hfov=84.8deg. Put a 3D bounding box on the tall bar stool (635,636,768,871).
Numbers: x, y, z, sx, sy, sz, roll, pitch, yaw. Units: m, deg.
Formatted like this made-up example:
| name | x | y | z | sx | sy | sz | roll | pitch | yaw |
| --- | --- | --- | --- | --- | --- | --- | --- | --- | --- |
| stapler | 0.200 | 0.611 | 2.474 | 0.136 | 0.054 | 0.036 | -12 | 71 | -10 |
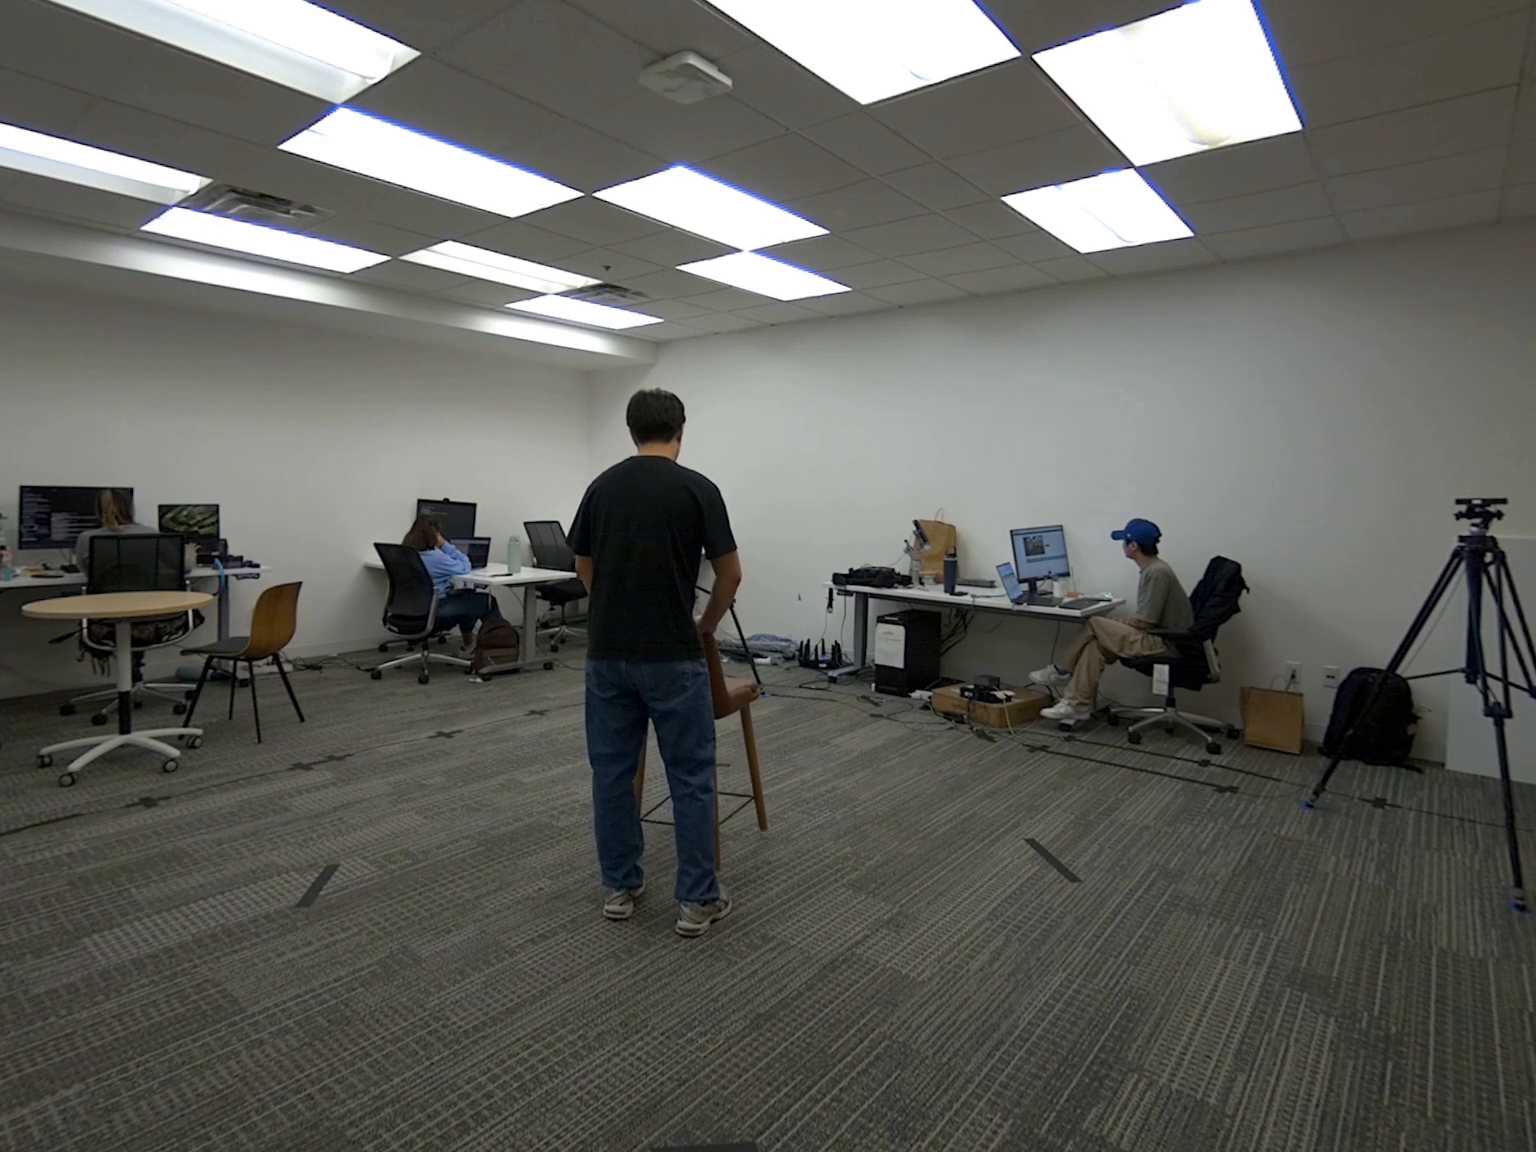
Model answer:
| name | x | y | z | sx | sy | sz | roll | pitch | yaw |
| --- | --- | --- | --- | --- | --- | --- | --- | --- | --- |
| tall bar stool | -0.305 | 0.599 | 3.286 | 0.467 | 0.887 | 0.458 | -2 | 4 | 25 |
